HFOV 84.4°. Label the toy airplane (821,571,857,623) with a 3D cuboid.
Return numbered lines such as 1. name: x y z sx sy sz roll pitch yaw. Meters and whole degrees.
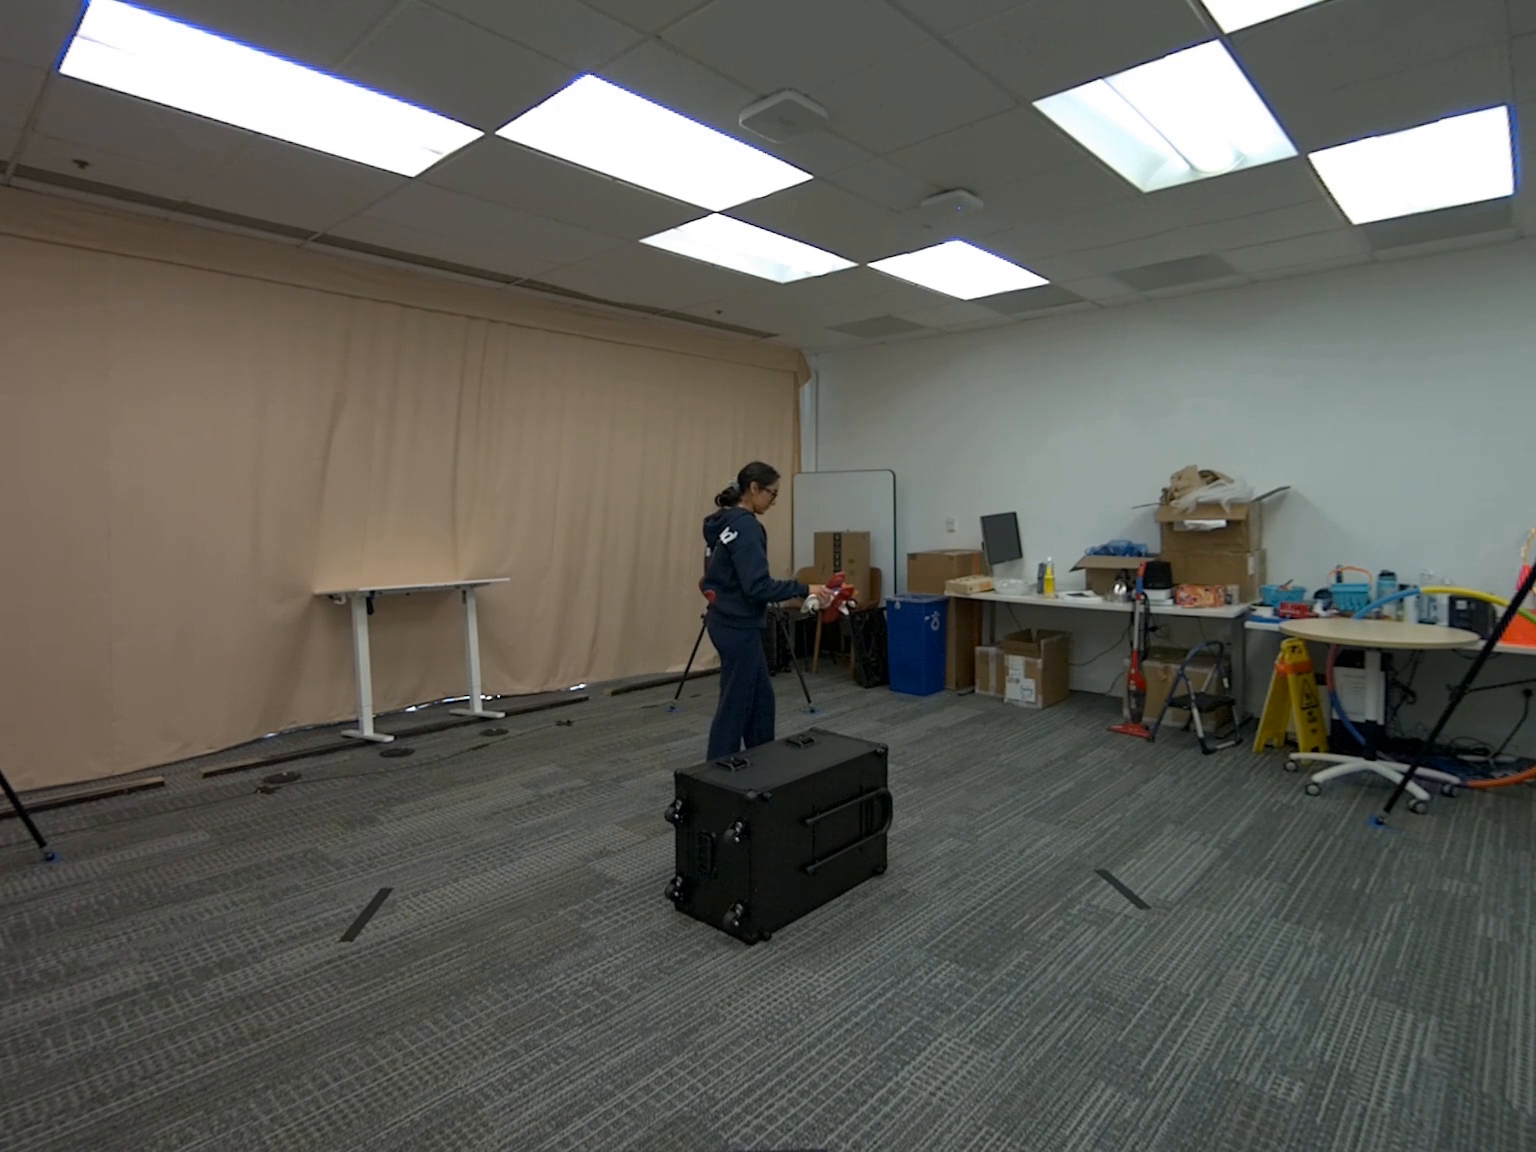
1. toy airplane: 0.296 0.095 3.805 0.250 0.160 0.254 25 -53 -40
